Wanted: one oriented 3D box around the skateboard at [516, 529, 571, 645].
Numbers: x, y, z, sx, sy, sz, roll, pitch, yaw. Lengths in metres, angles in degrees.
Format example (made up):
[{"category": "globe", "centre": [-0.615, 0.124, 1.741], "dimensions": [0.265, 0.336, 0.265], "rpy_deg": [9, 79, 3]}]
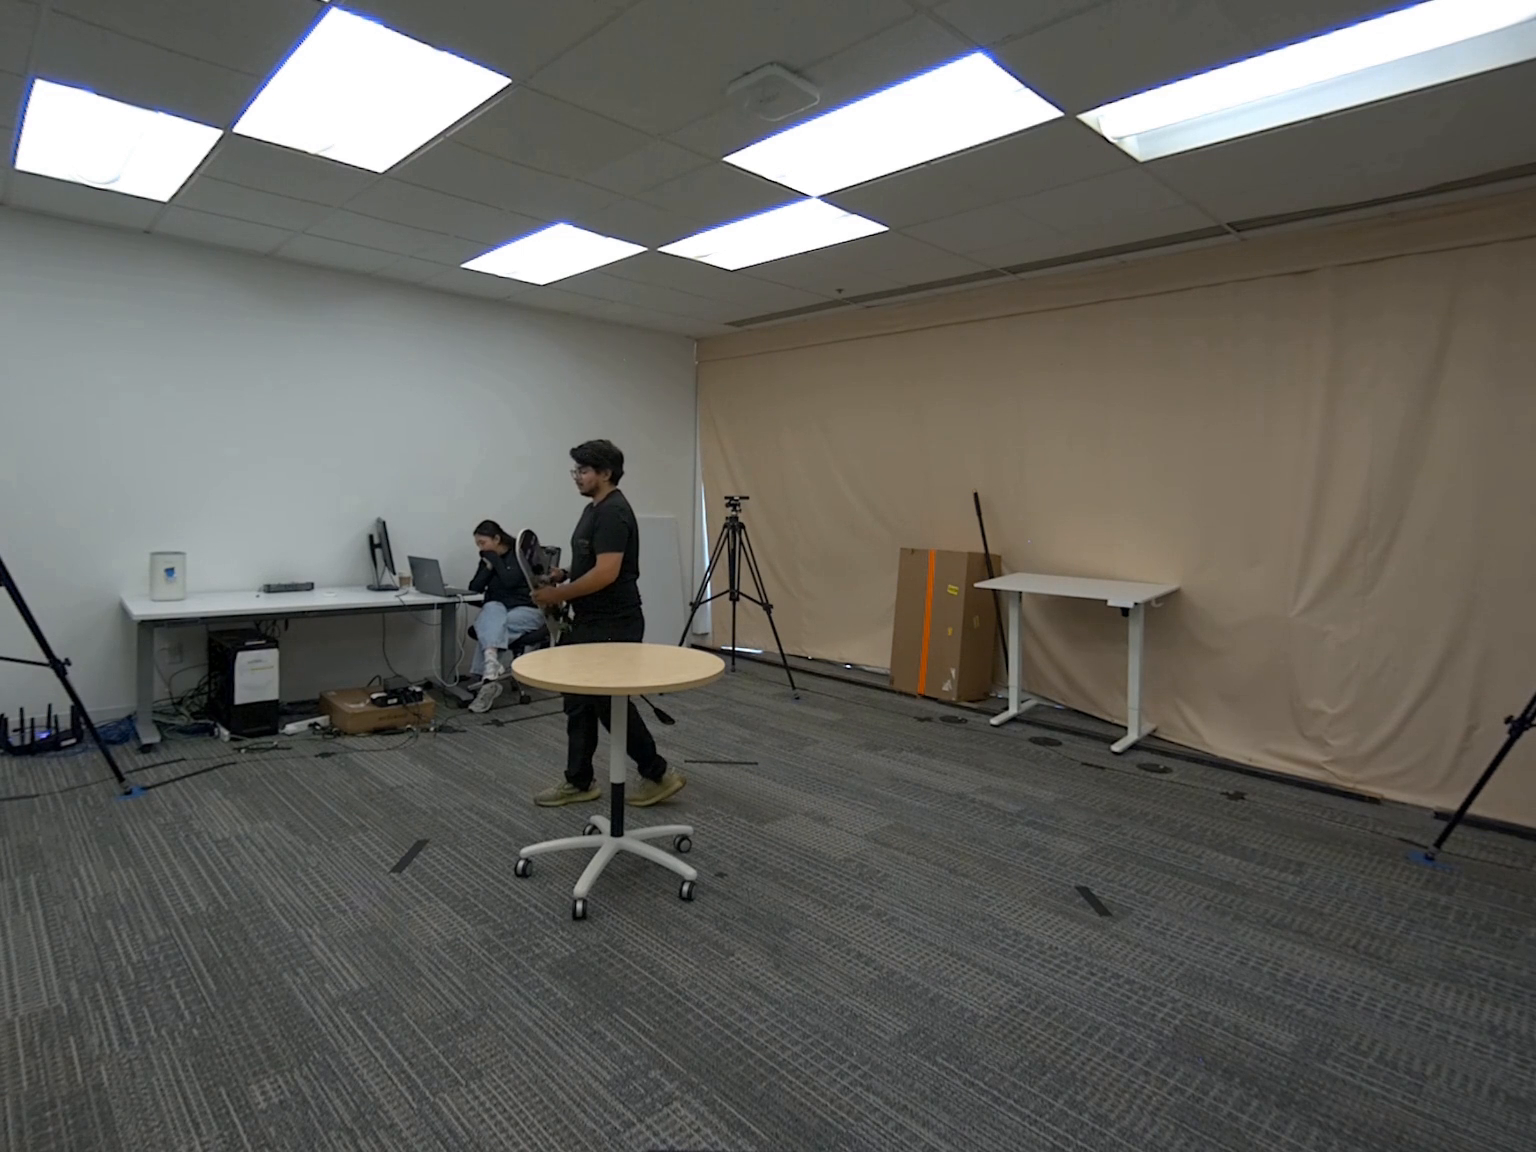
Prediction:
[{"category": "skateboard", "centre": [-0.972, 0.063, 3.770], "dimensions": [0.111, 0.197, 0.768], "rpy_deg": [3, -34, 3]}]
